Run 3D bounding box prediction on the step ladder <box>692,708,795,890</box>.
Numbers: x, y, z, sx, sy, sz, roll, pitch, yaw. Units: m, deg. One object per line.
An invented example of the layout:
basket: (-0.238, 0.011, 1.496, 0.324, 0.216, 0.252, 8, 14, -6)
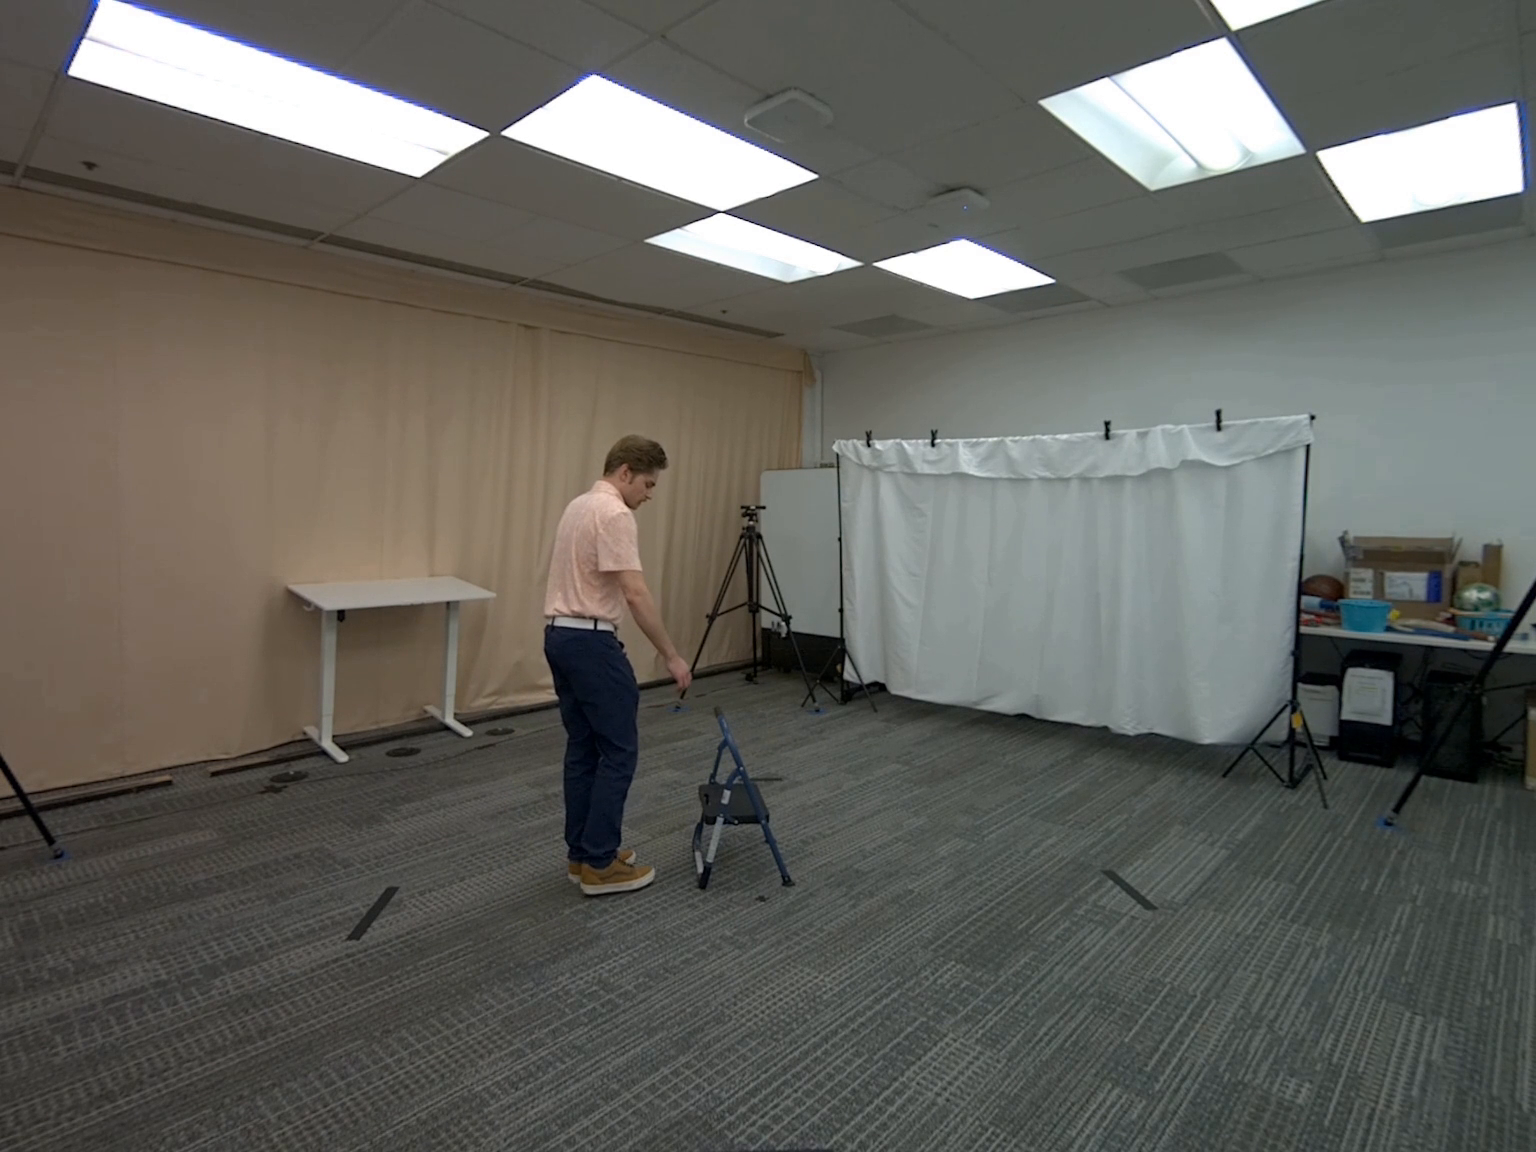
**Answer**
step ladder: (-0.114, 0.826, 3.261, 0.346, 0.605, 0.435, 0, 3, -9)
